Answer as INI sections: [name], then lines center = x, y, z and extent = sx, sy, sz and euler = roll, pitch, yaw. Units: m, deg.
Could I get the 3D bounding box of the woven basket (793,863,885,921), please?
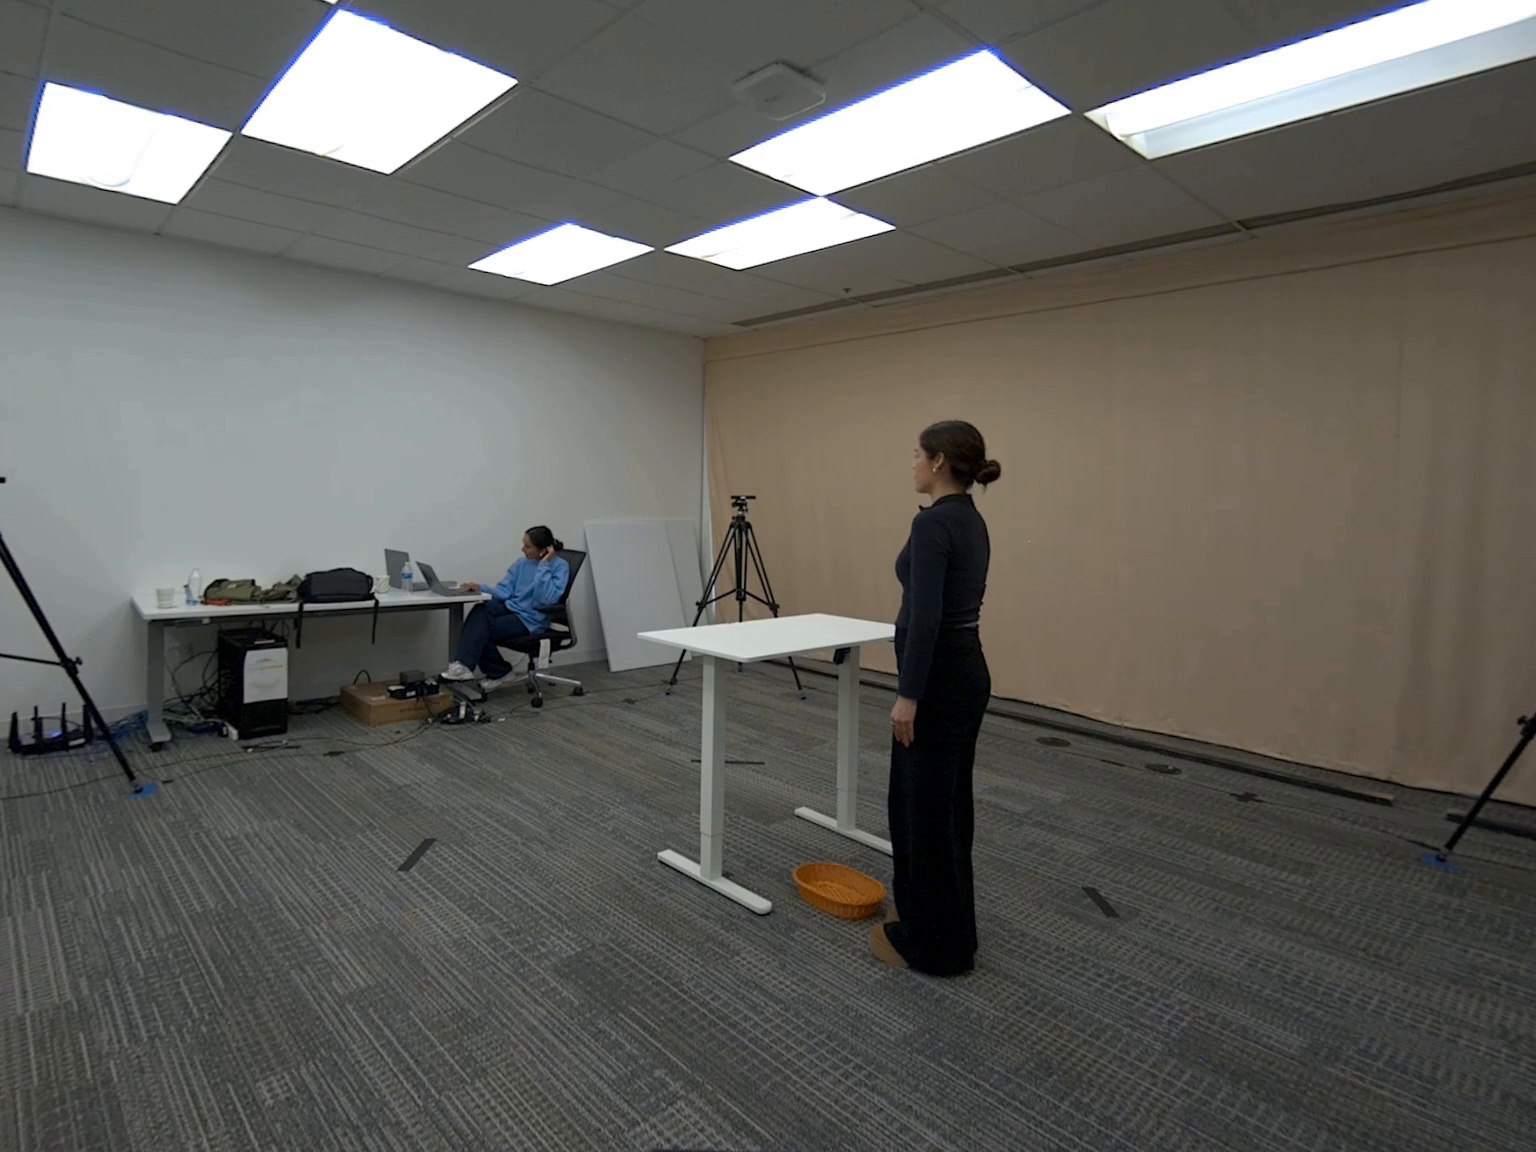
[woven basket]
center = 0.233, 1.089, 2.911
extent = 0.246, 0.073, 0.359
euler = -2, 6, -40
